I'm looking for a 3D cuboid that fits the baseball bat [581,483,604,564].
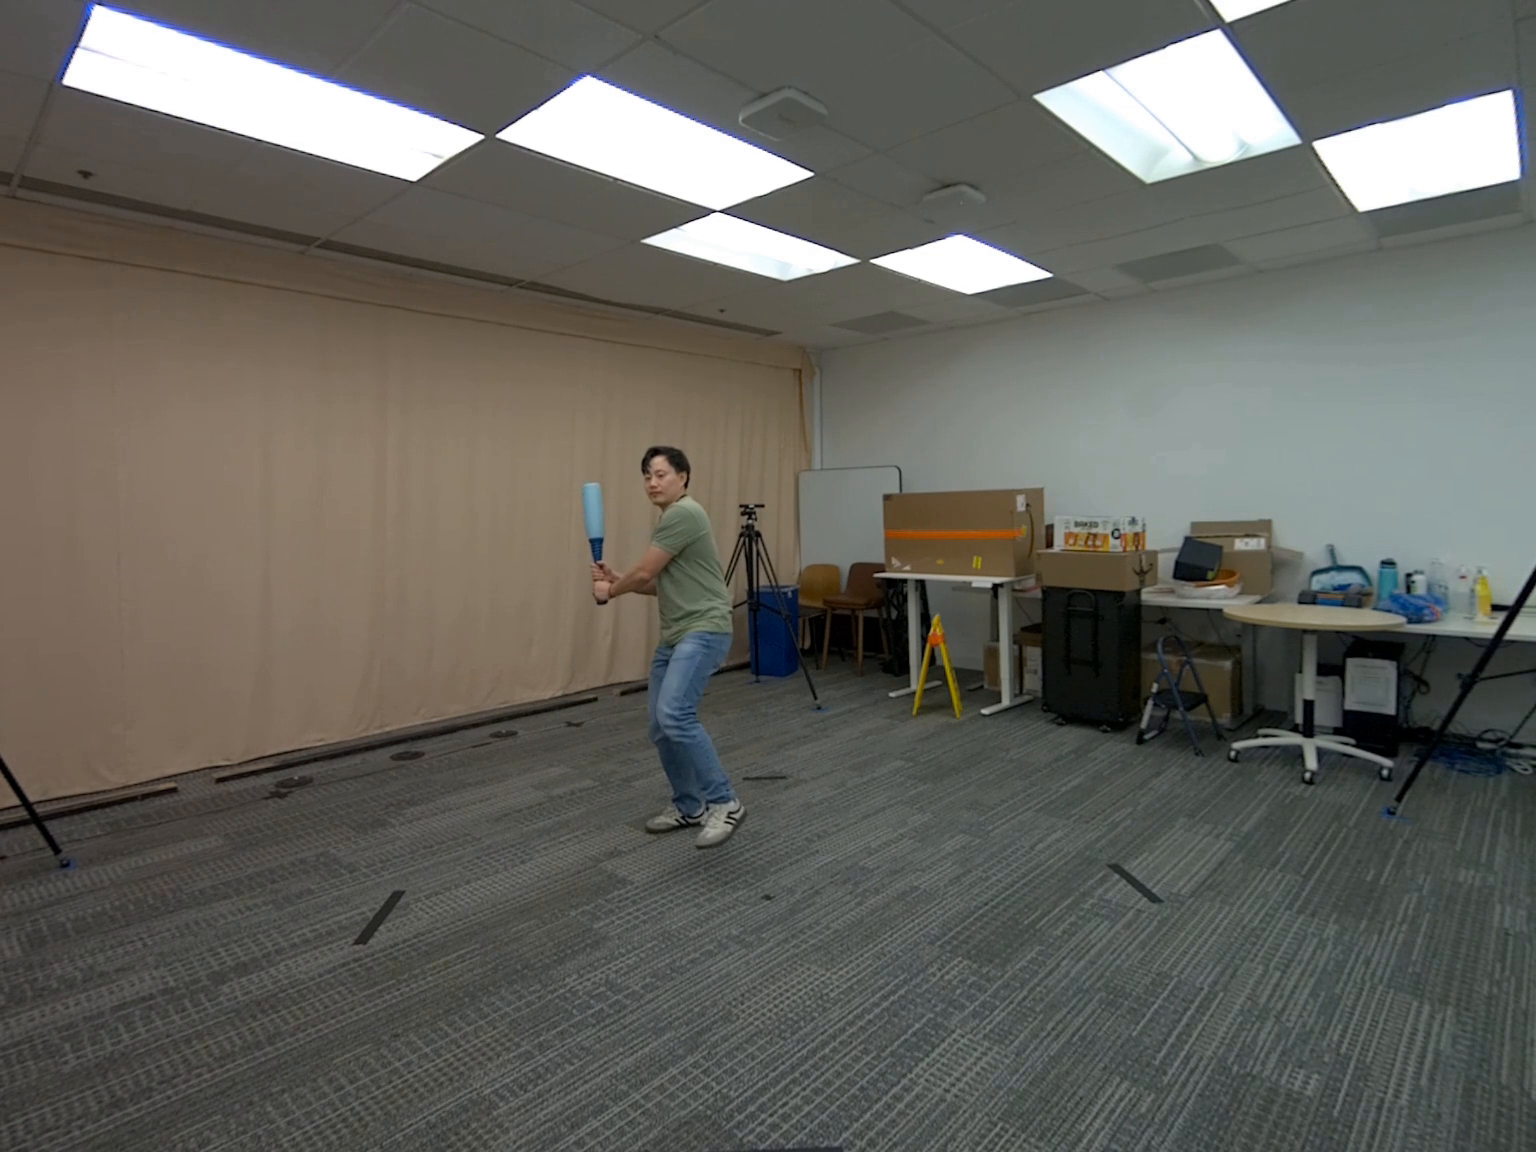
[{"bbox_3d":[-0.750,-0.142,3.729,0.089,0.546,0.089,-6,-8,-3],"label":"baseball bat"}]
